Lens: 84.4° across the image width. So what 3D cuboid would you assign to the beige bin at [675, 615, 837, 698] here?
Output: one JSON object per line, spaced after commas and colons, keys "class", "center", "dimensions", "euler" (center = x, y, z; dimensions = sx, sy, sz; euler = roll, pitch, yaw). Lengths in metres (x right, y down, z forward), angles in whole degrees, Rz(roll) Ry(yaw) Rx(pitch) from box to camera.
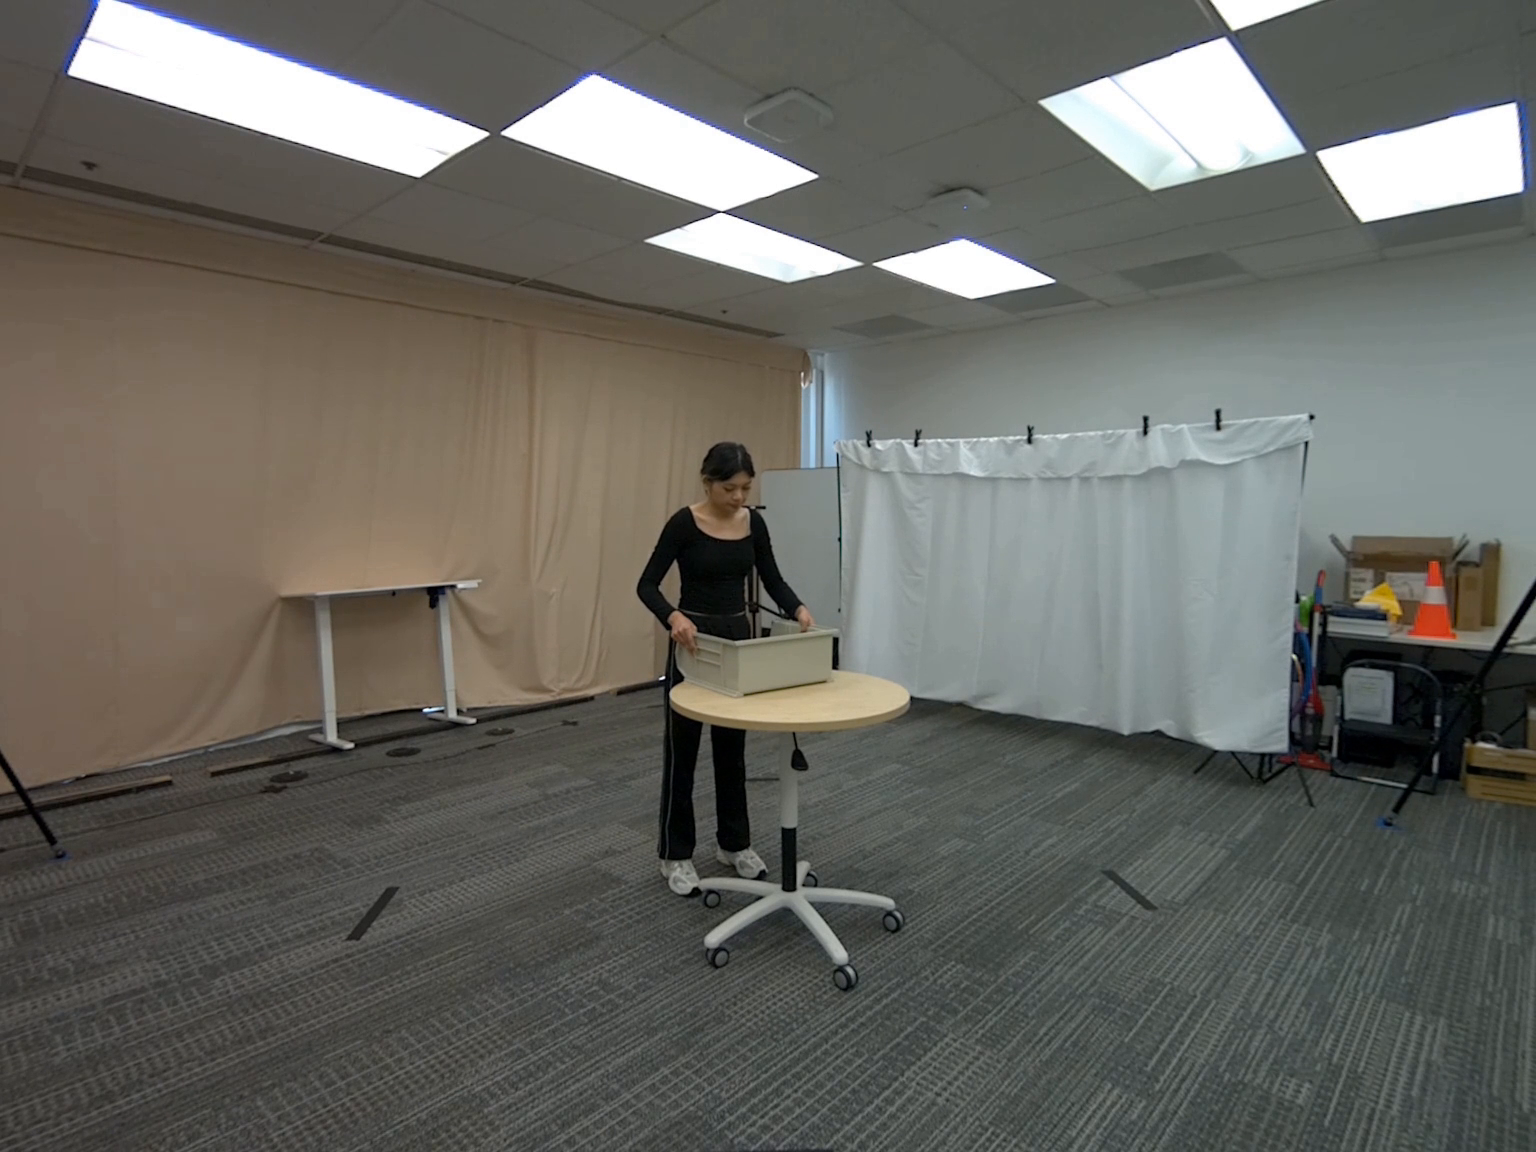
{"class": "beige bin", "center": [-0.047, 0.261, 2.883], "dimensions": [0.410, 0.188, 0.390], "euler": [-3, 9, -34]}
